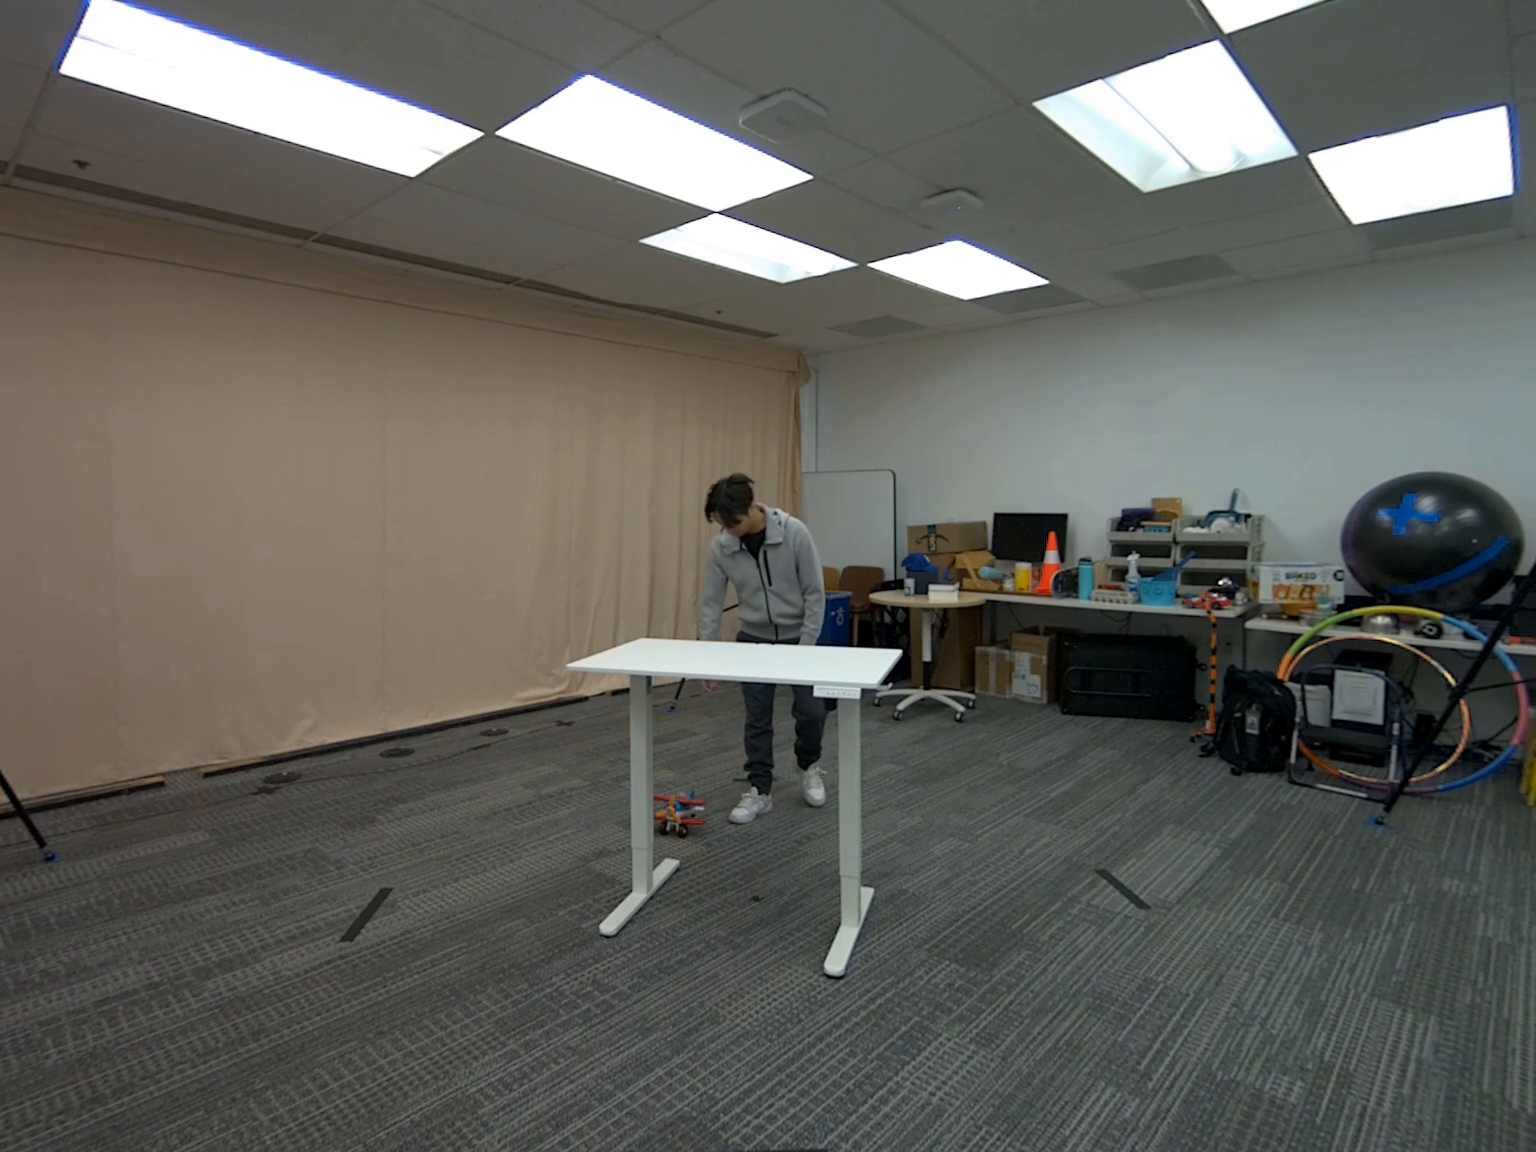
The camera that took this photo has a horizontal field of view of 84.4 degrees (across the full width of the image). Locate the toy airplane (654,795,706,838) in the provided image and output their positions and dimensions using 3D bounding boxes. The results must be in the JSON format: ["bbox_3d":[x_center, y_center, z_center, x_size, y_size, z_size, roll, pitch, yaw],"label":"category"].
[{"bbox_3d":[-0.390,1.016,3.635,0.249,0.156,0.262,-1,5,-8],"label":"toy airplane"}]
